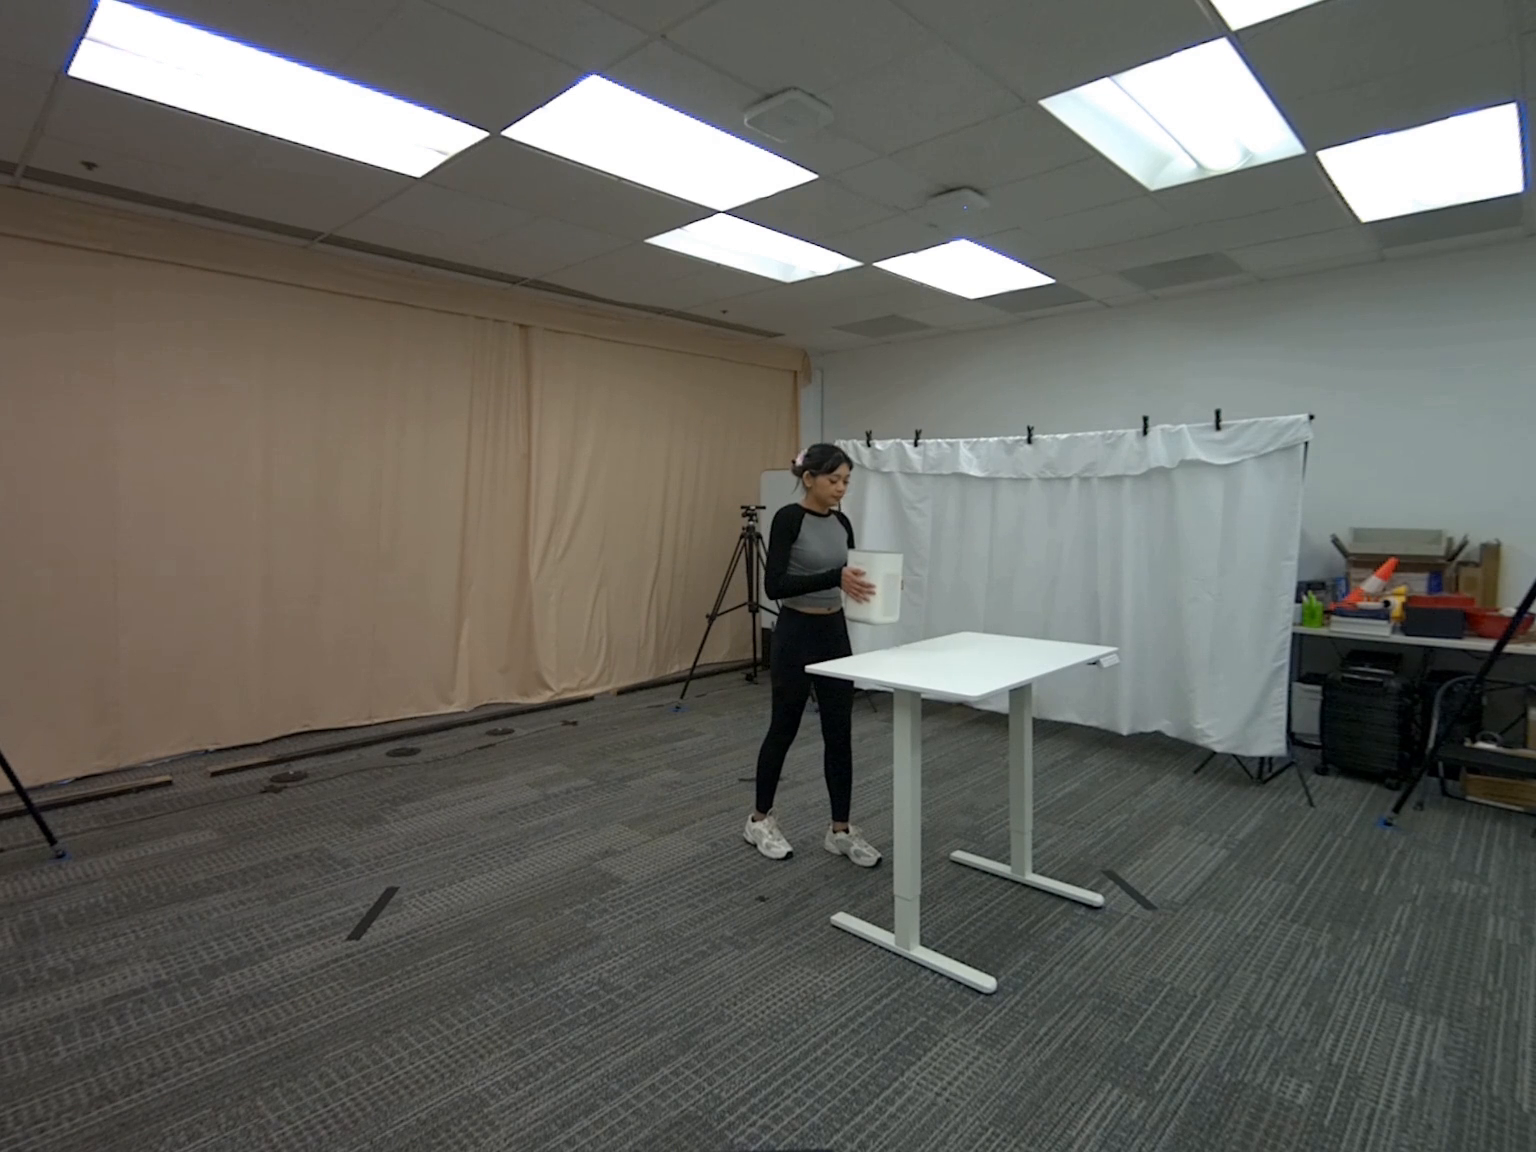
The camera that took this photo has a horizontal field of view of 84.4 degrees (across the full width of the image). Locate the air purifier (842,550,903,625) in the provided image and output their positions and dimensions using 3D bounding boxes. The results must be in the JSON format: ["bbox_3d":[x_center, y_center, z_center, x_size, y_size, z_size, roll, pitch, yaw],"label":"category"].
[{"bbox_3d":[0.391,0.040,3.083,0.166,0.265,0.177,1,5,-43],"label":"air purifier"}]
